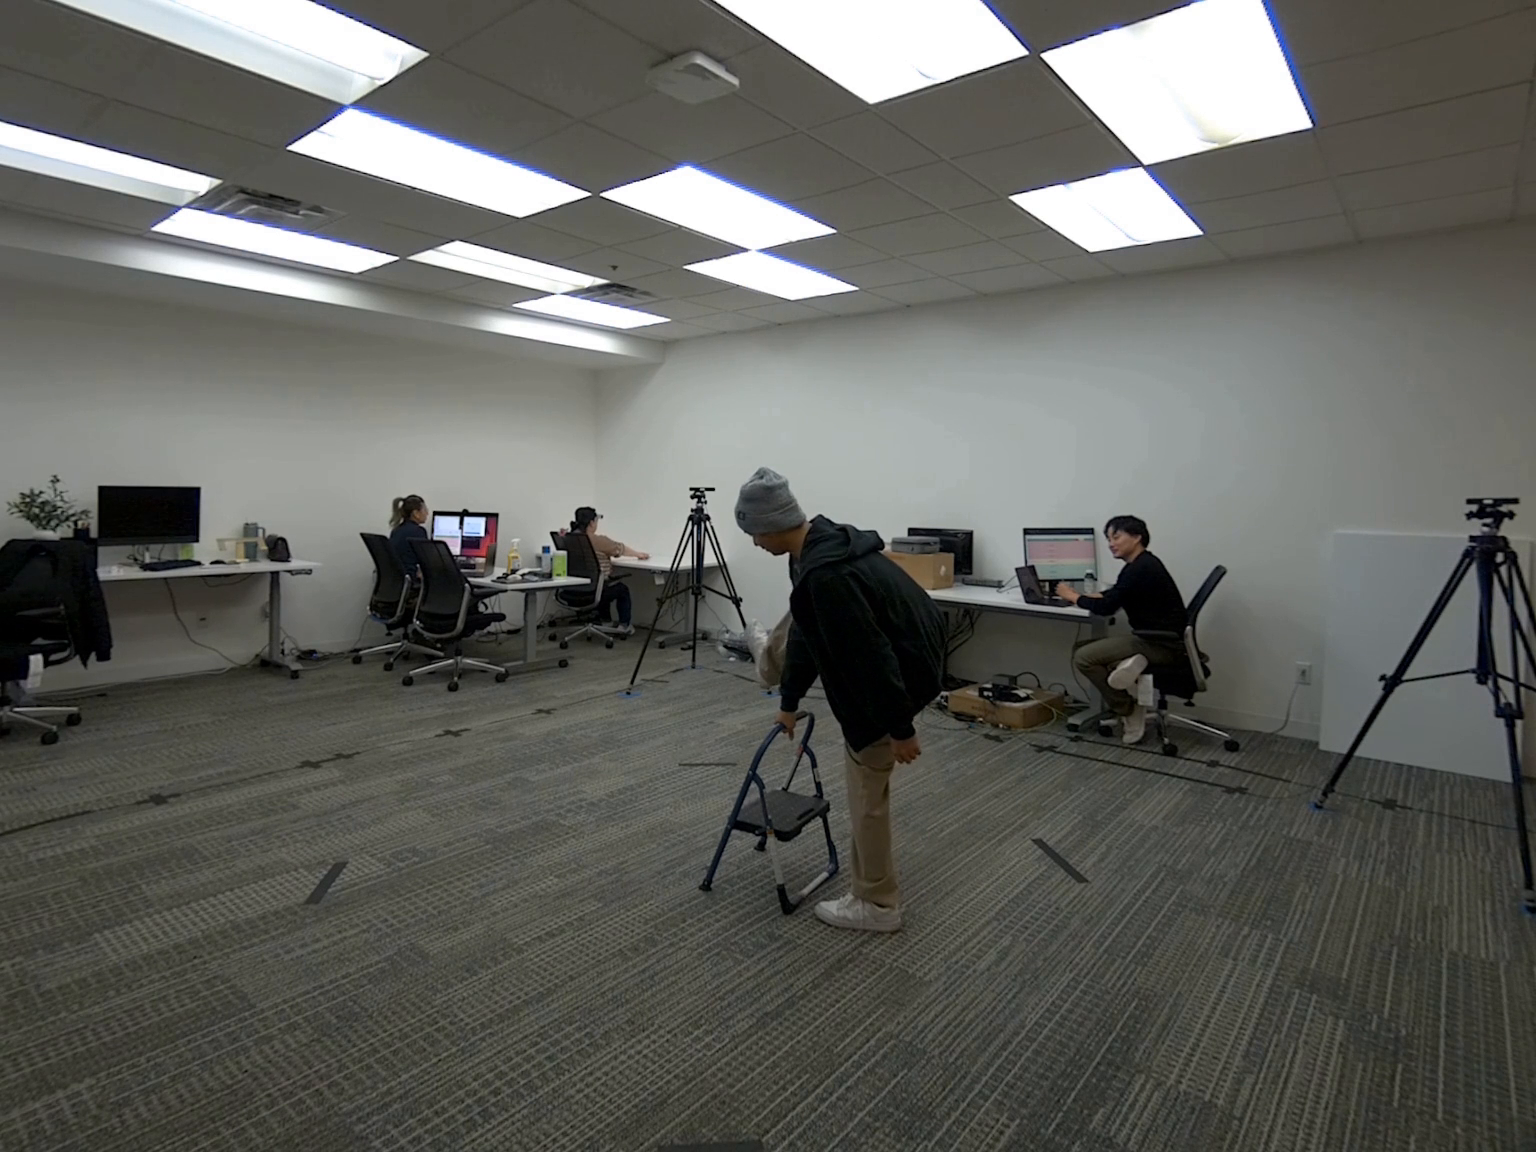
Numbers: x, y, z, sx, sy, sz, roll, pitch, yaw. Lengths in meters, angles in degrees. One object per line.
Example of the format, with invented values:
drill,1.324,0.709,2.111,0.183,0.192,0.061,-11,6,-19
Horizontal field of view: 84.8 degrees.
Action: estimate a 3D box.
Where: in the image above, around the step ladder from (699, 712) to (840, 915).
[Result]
step ladder,0.012,0.776,3.020,0.359,0.604,0.420,3,4,29
